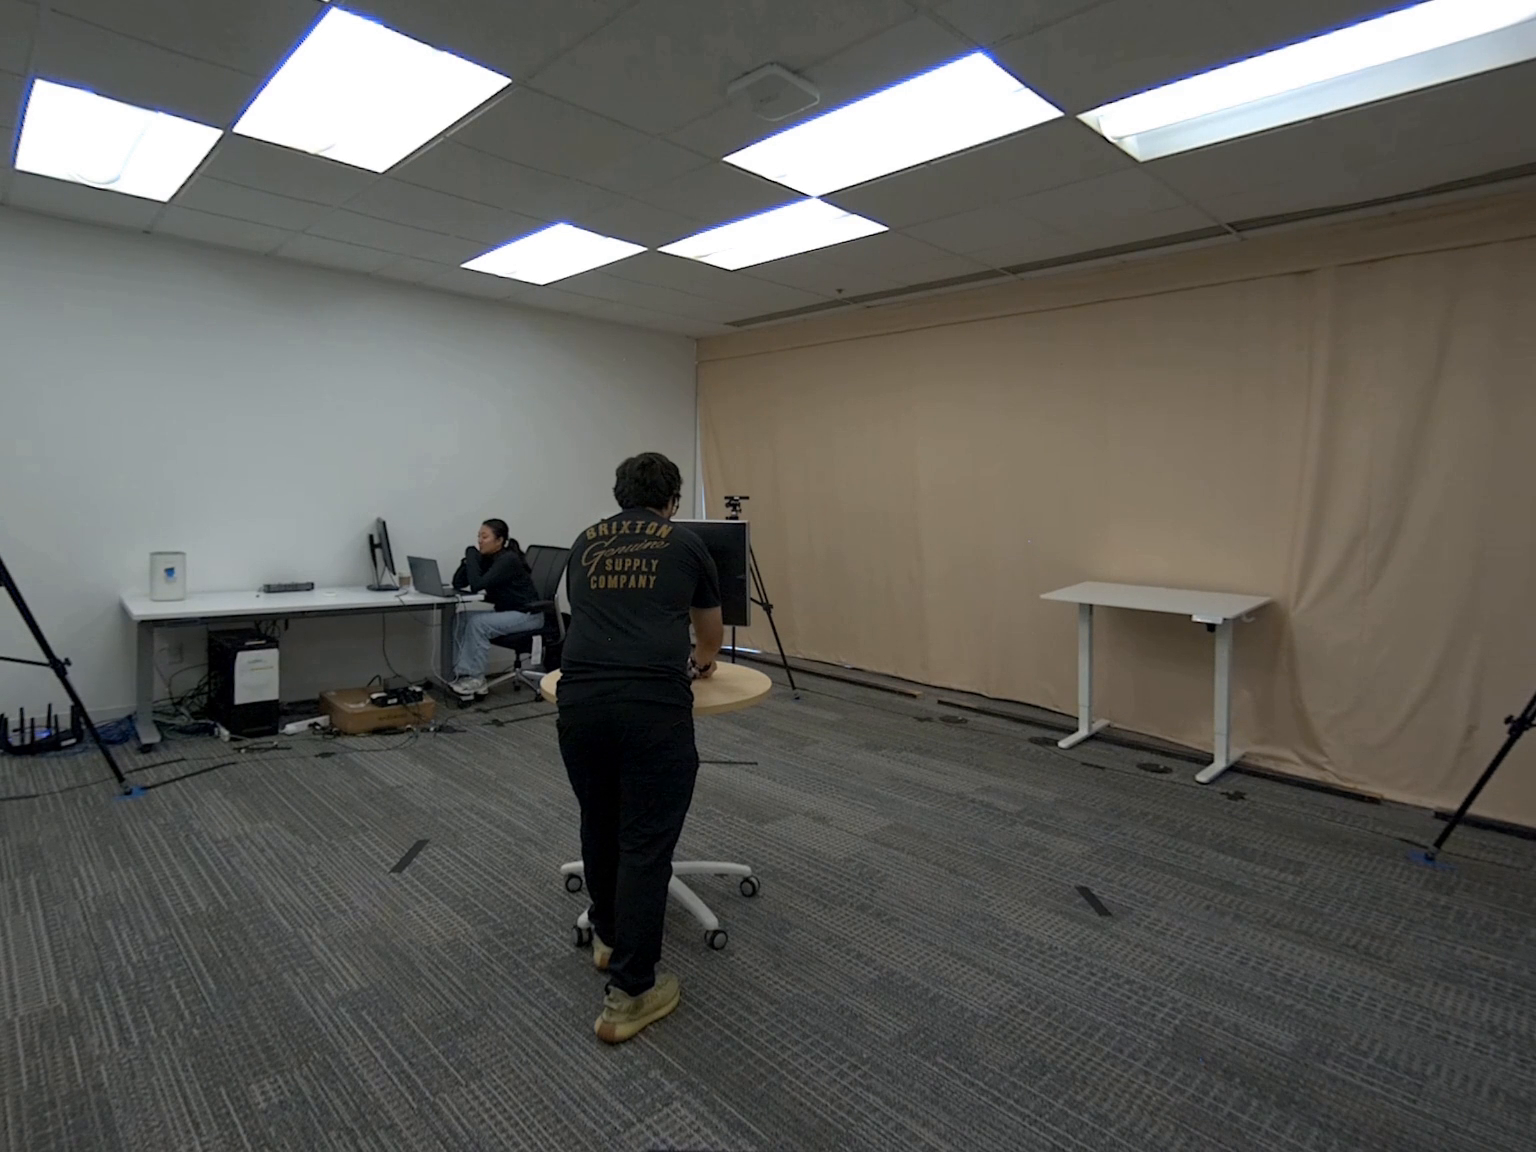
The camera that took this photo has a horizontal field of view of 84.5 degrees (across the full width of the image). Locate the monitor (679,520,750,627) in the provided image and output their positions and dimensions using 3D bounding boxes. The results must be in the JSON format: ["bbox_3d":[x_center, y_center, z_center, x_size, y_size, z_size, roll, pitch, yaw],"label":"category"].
[{"bbox_3d":[-0.357,0.078,2.884,0.574,0.552,0.207,3,4,20],"label":"monitor"}]
